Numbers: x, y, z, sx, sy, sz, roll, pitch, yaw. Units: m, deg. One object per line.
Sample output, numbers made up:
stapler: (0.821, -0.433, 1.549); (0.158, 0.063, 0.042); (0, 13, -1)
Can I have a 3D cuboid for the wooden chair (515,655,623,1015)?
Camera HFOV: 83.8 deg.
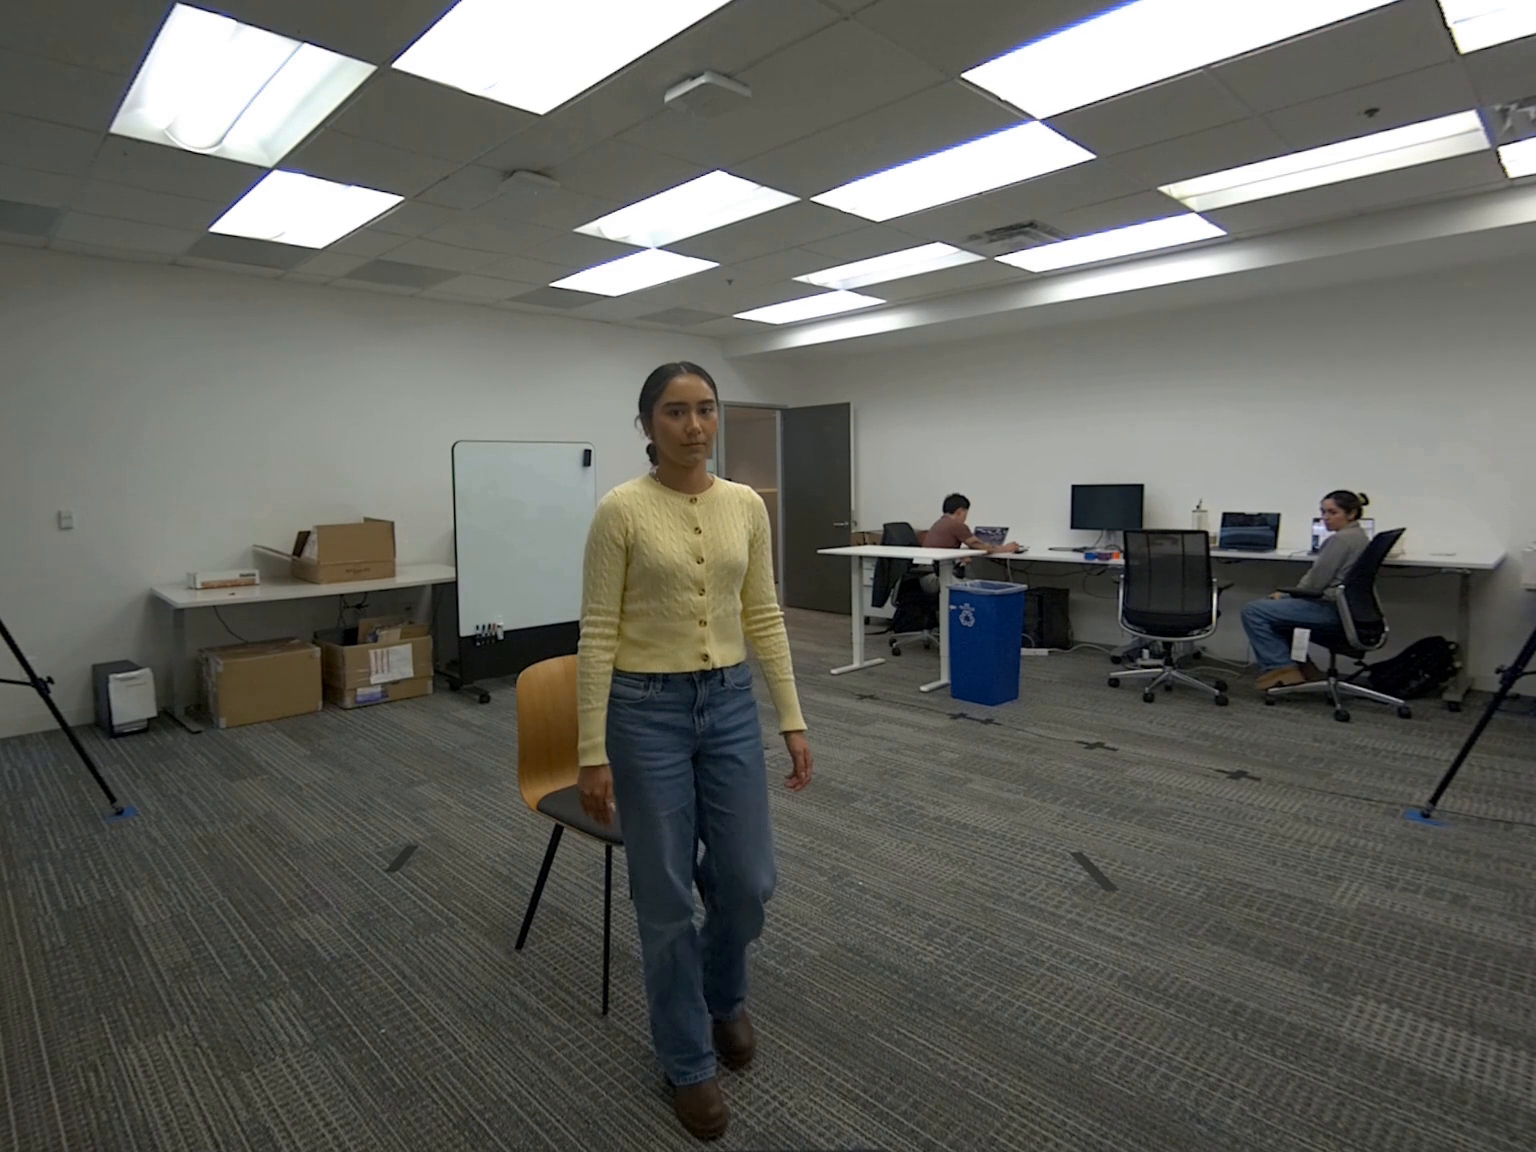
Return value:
wooden chair: (-0.439, 0.693, 2.517); (0.538, 0.876, 0.465); (-2, 2, 44)
